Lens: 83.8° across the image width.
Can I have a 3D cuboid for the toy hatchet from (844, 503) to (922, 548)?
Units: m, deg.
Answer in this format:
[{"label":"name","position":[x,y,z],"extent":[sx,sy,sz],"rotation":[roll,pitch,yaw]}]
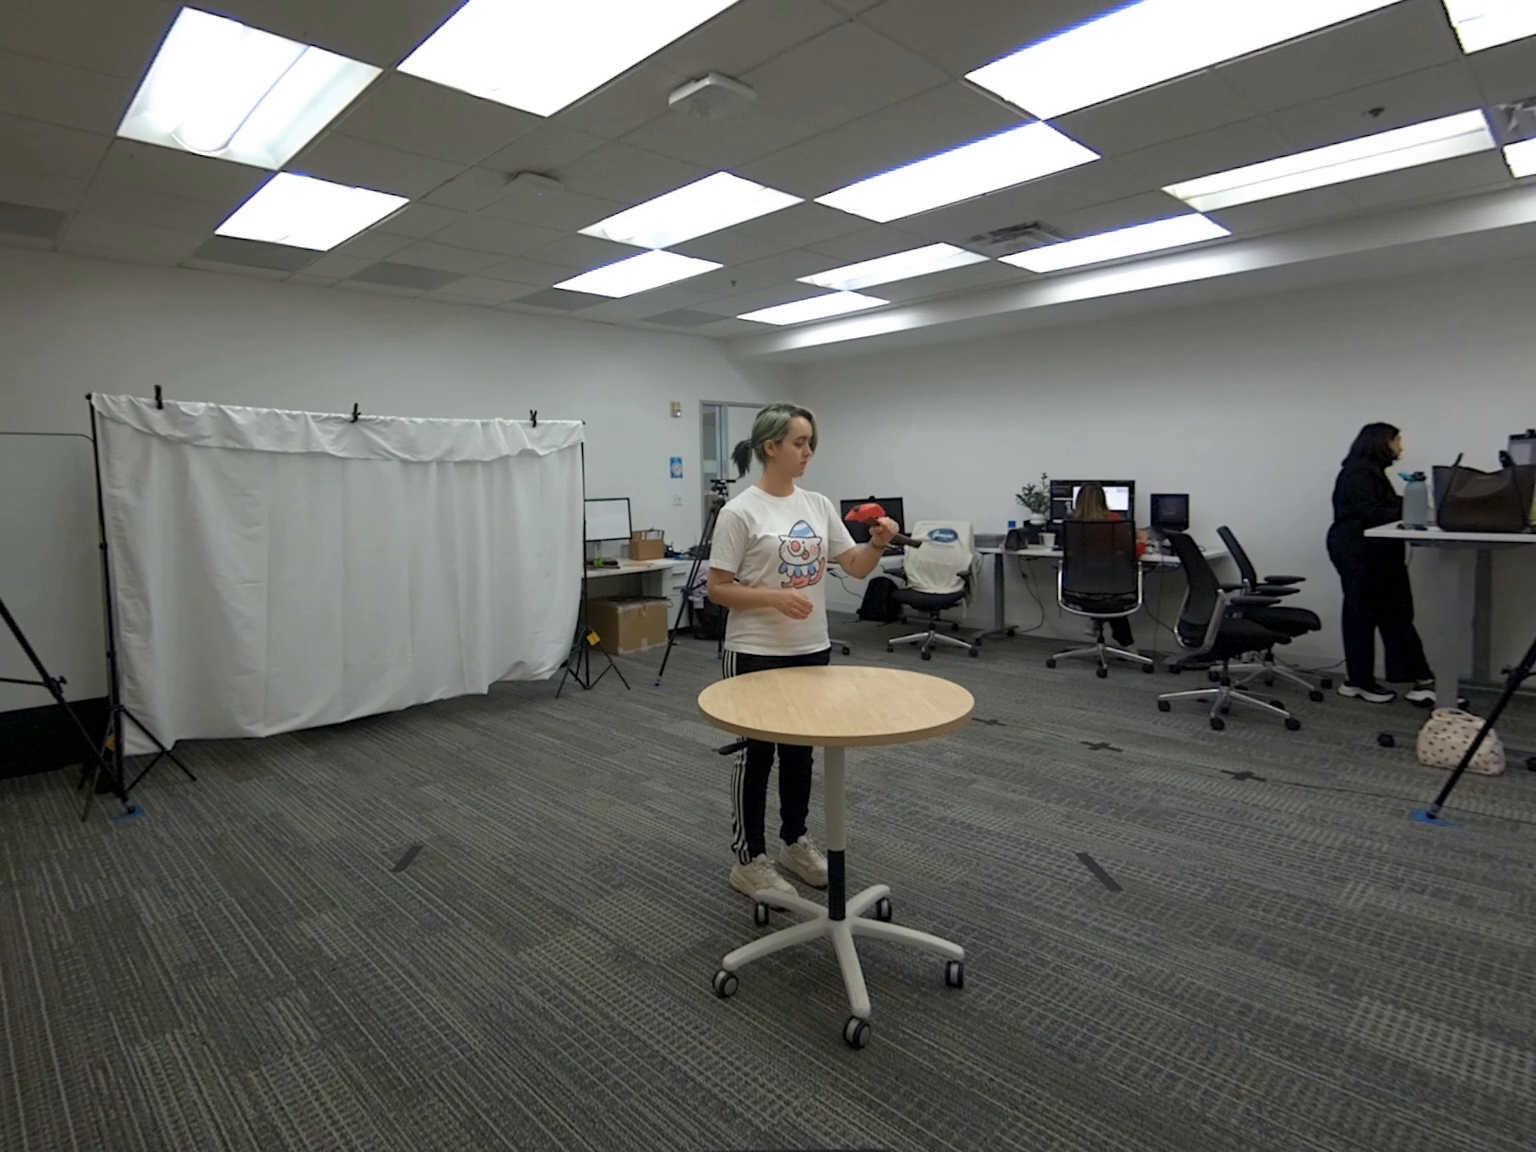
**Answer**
[{"label":"toy hatchet","position":[0.392,-0.163,2.680],"extent":[0.266,0.030,0.130],"rotation":[20,-34,-13]}]
